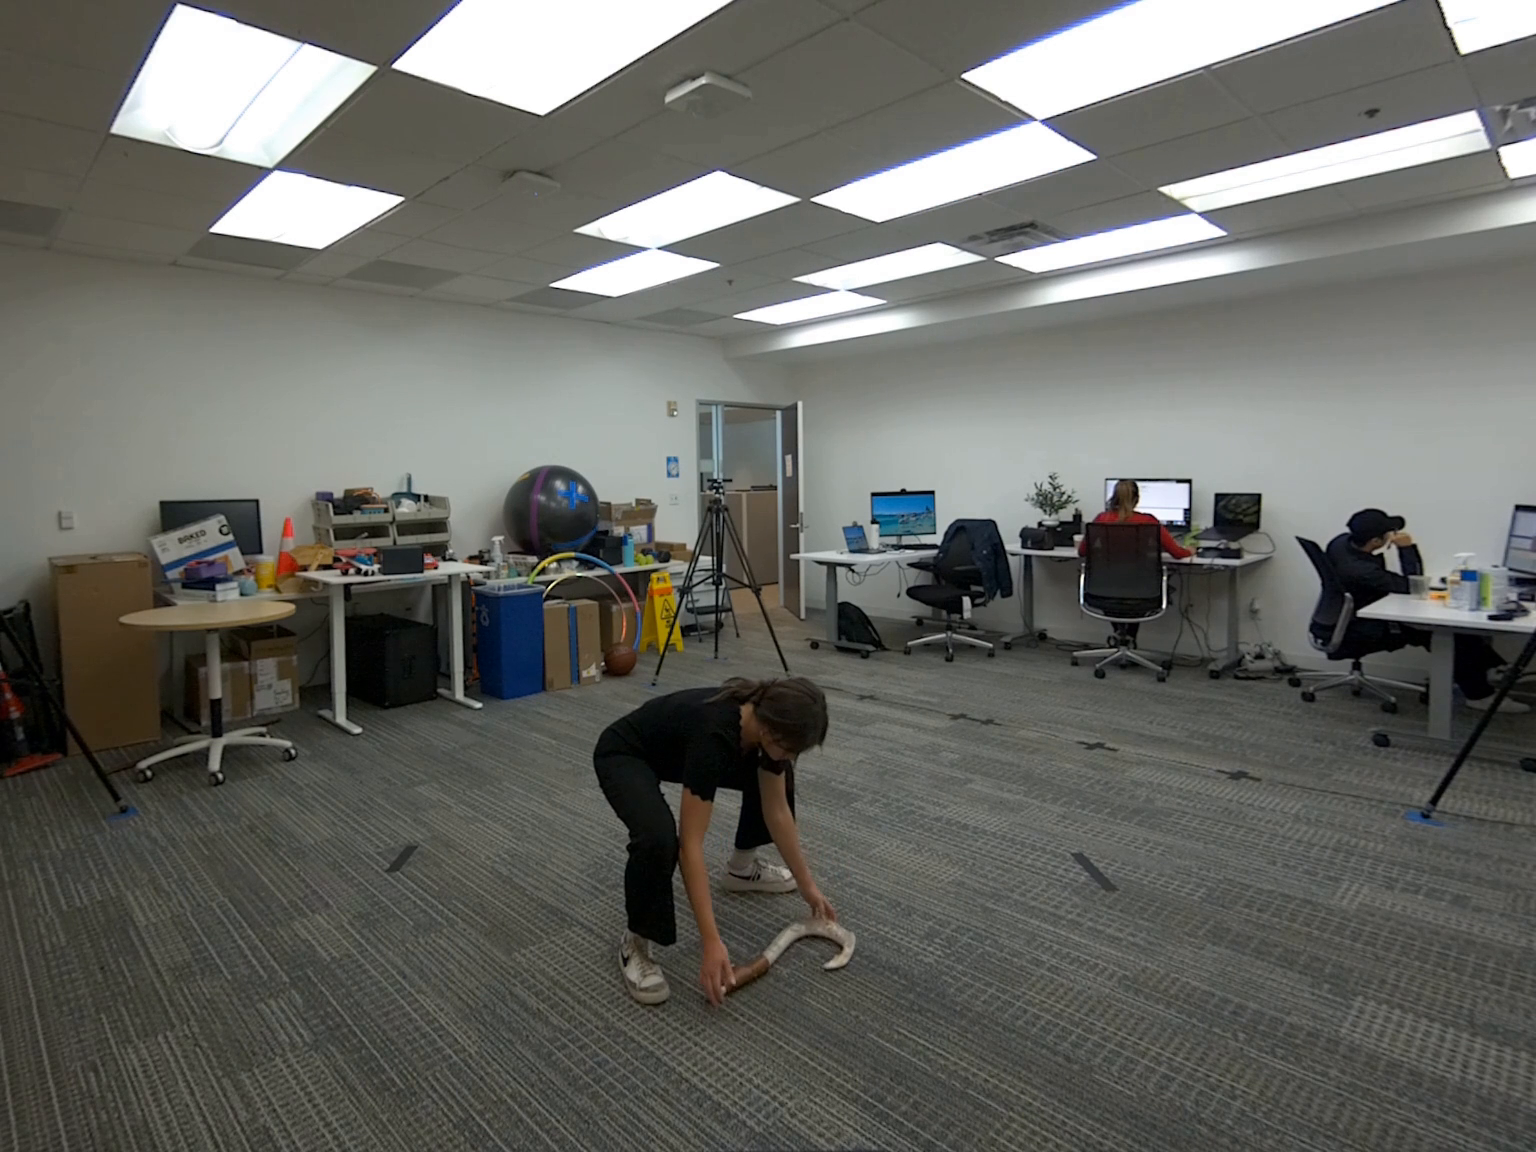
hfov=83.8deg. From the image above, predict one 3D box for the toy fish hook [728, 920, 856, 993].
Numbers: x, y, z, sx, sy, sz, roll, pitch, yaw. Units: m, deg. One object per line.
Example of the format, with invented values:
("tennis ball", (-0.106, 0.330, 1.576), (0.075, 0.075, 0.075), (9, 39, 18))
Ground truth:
("toy fish hook", (0.062, 1.100, 2.437), (0.231, 0.048, 0.494), (2, 8, 42))
